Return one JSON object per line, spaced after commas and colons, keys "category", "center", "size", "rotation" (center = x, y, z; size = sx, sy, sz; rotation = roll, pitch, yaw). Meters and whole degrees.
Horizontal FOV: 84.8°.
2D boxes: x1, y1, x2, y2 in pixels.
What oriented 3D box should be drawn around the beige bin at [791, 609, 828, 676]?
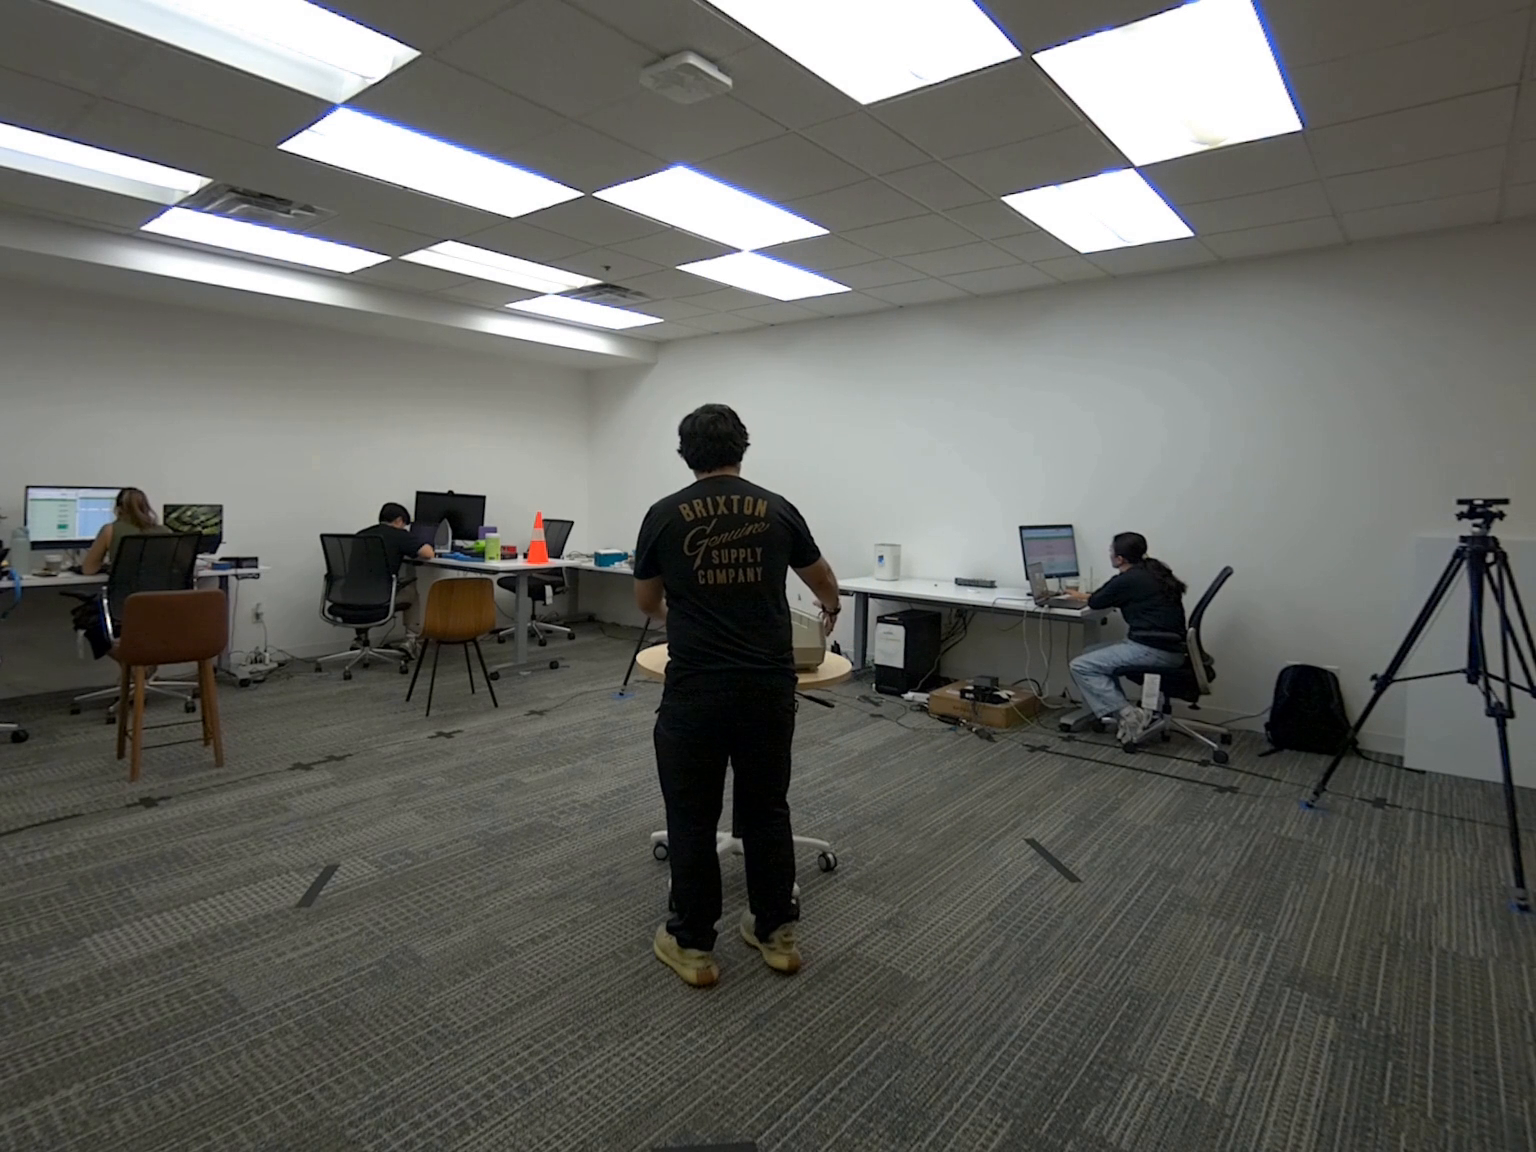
{"category": "beige bin", "center": [-0.069, 0.205, 2.962], "size": [0.415, 0.188, 0.385], "rotation": [-3, 5, -18]}
